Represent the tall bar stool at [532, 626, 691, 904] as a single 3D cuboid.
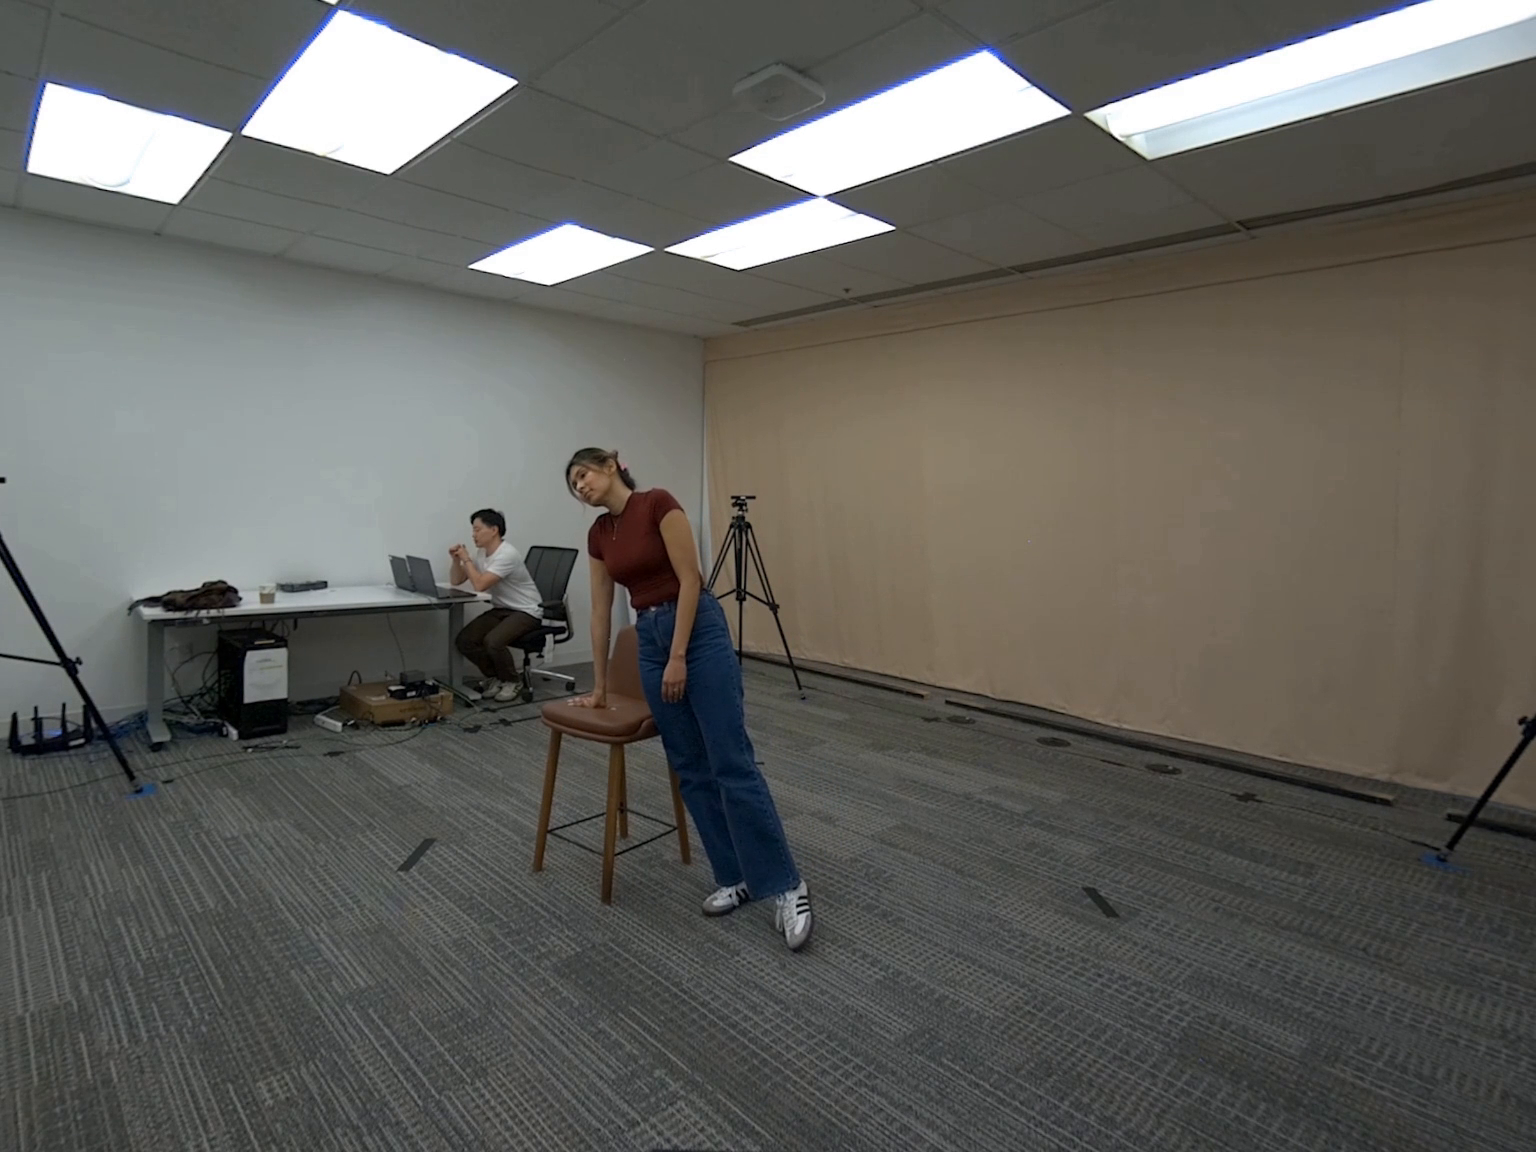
[{"bbox_3d":[-0.576,0.660,3.138,0.468,0.888,0.457,4,3,39],"label":"tall bar stool"}]
